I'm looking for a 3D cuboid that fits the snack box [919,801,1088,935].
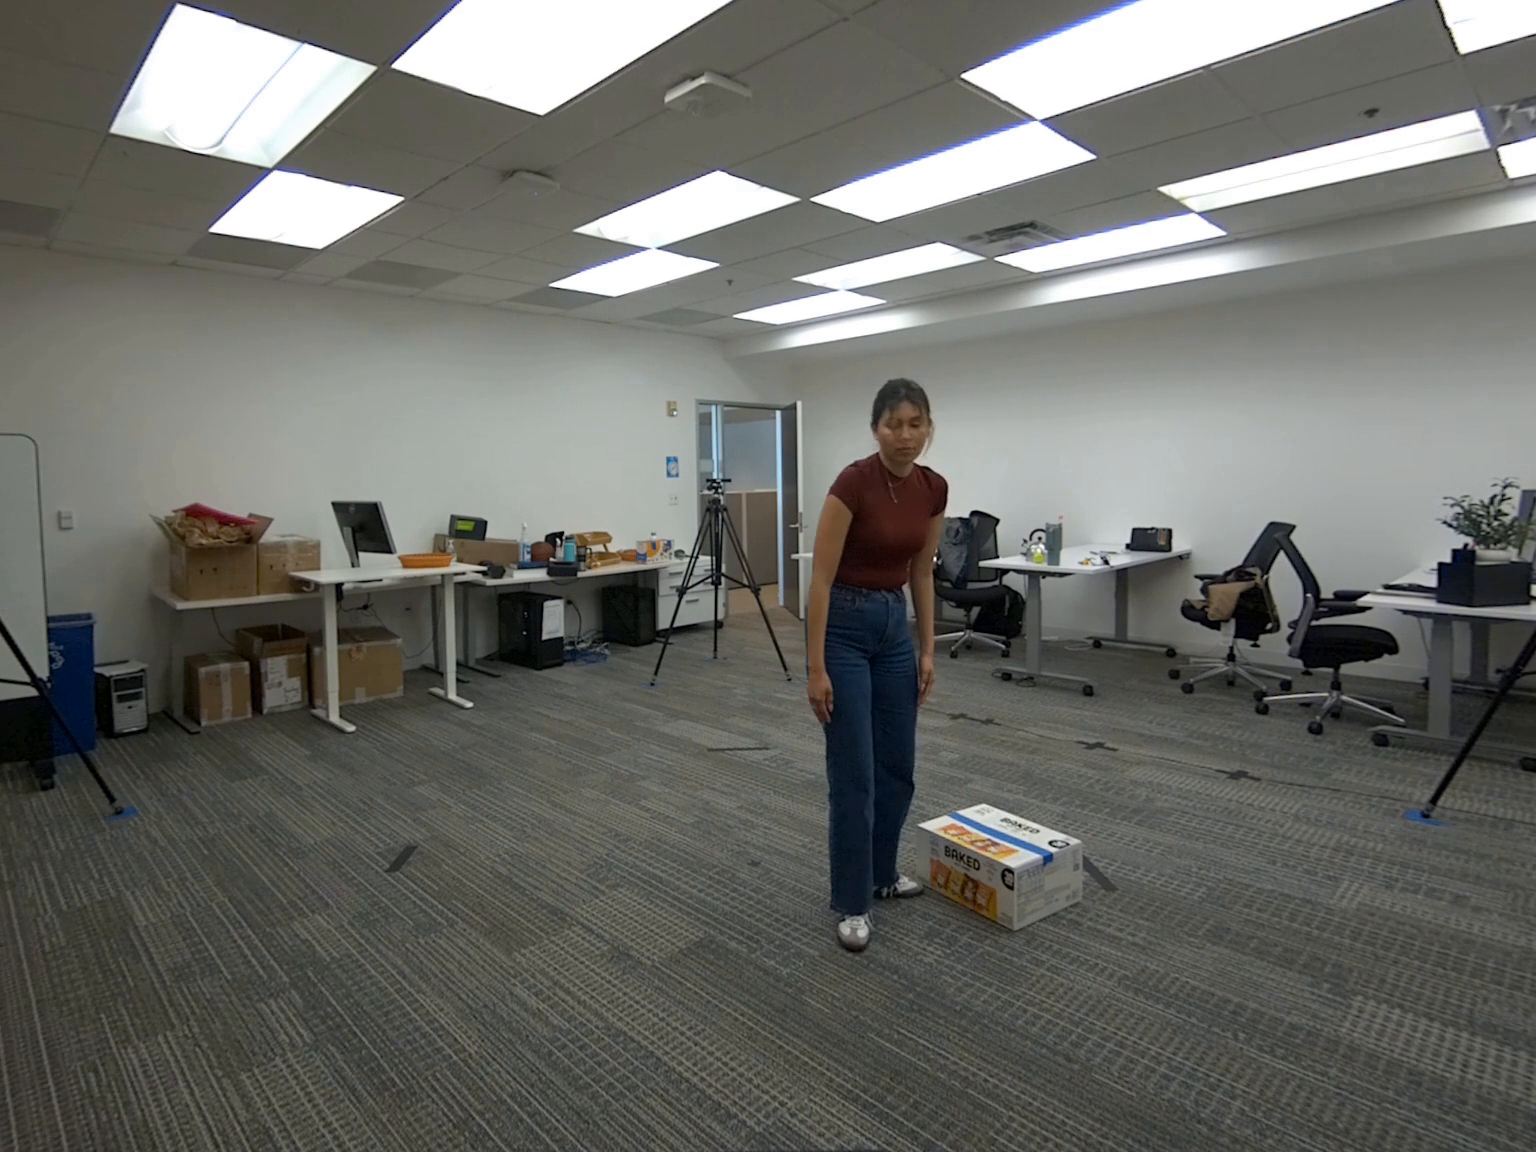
[{"bbox_3d":[0.775,0.948,2.846,0.332,0.205,0.417,-5,7,-35],"label":"snack box"}]
